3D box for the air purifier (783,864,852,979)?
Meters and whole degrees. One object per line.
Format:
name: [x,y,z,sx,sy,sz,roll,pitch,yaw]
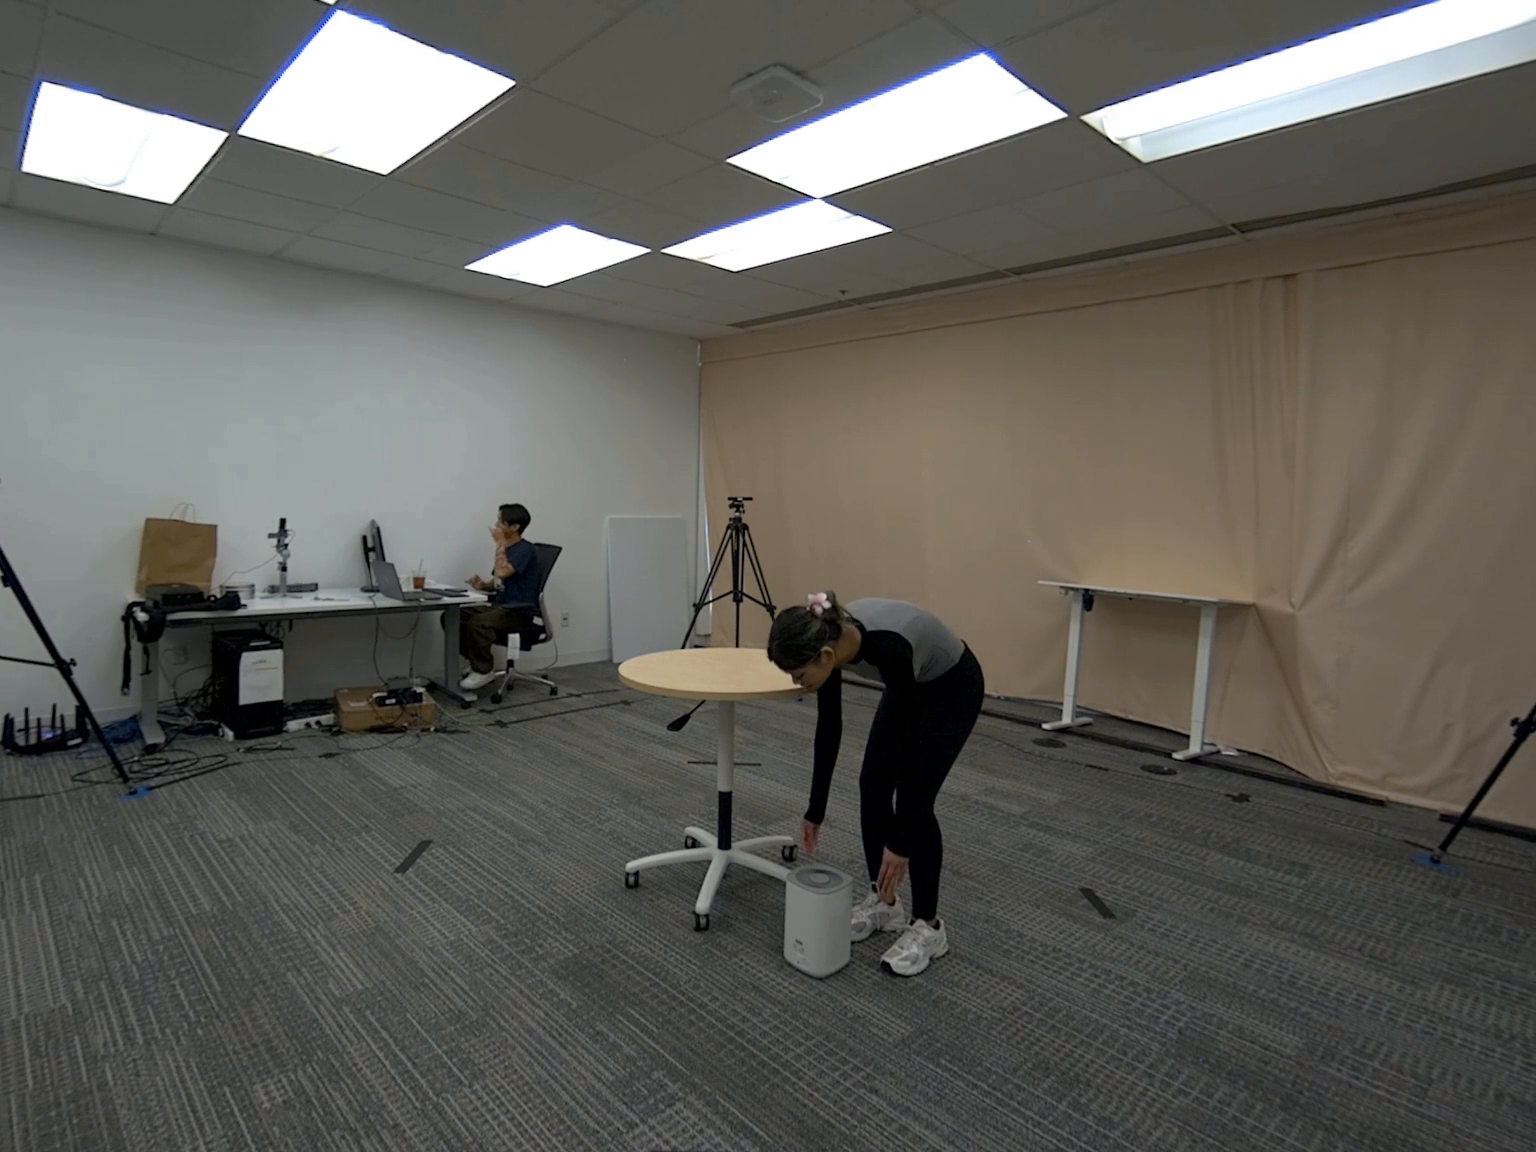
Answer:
air purifier: [0.141,1.039,2.526,0.175,0.265,0.168,2,4,42]
